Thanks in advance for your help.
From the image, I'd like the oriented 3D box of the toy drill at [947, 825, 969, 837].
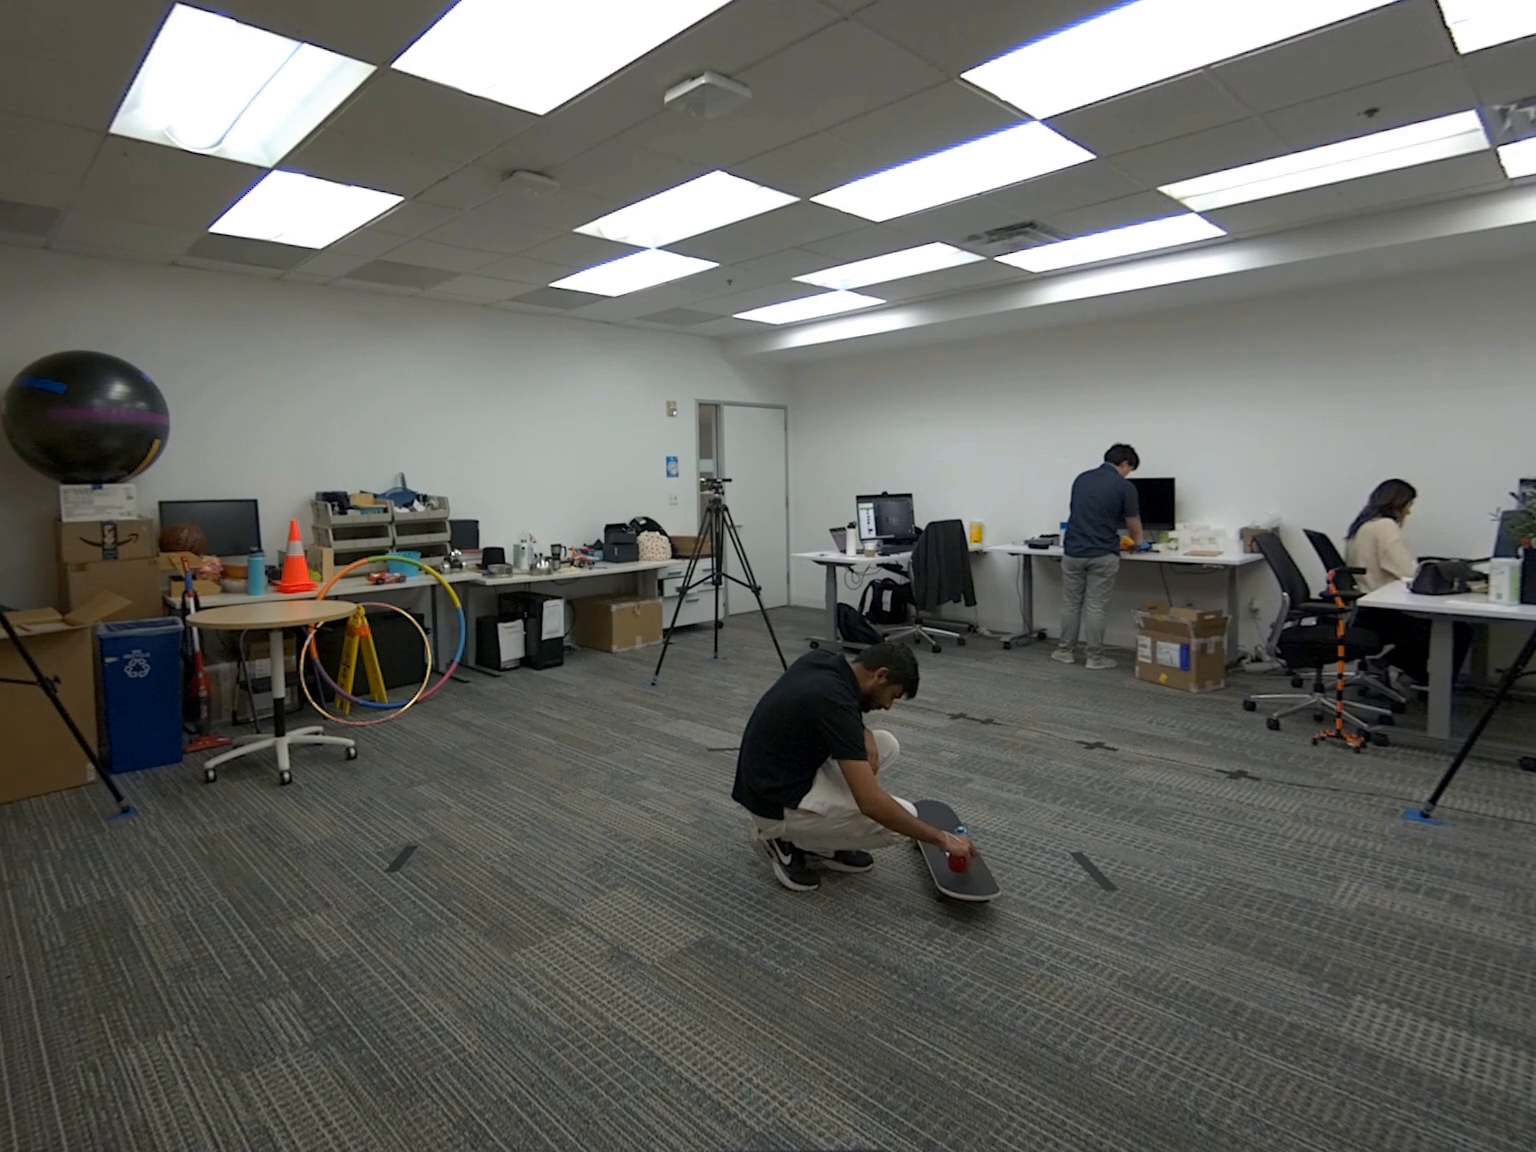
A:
[{"bbox_3d":[0.634,0.905,2.769,0.062,0.166,0.146,-3,24,27],"label":"toy drill"}]
